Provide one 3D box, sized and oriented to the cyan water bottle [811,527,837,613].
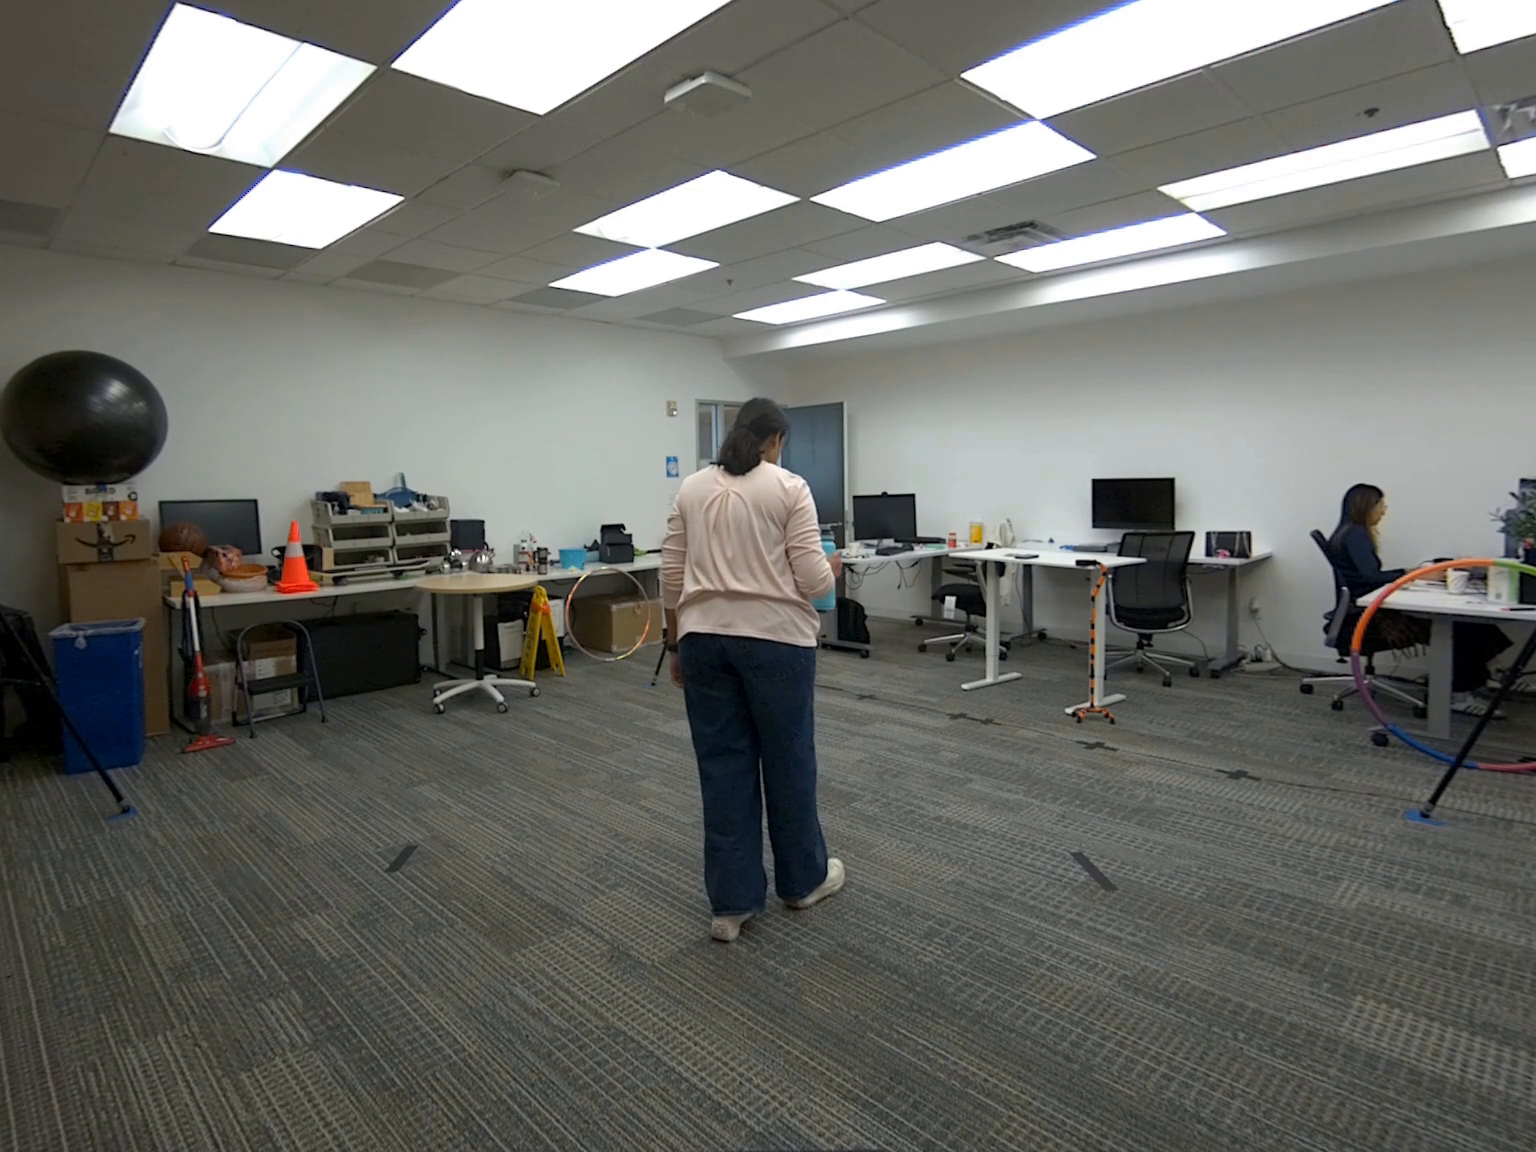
[{"bbox_3d":[0.193,-0.032,2.888,0.092,0.284,0.092,0,-4,-2],"label":"cyan water bottle"}]
